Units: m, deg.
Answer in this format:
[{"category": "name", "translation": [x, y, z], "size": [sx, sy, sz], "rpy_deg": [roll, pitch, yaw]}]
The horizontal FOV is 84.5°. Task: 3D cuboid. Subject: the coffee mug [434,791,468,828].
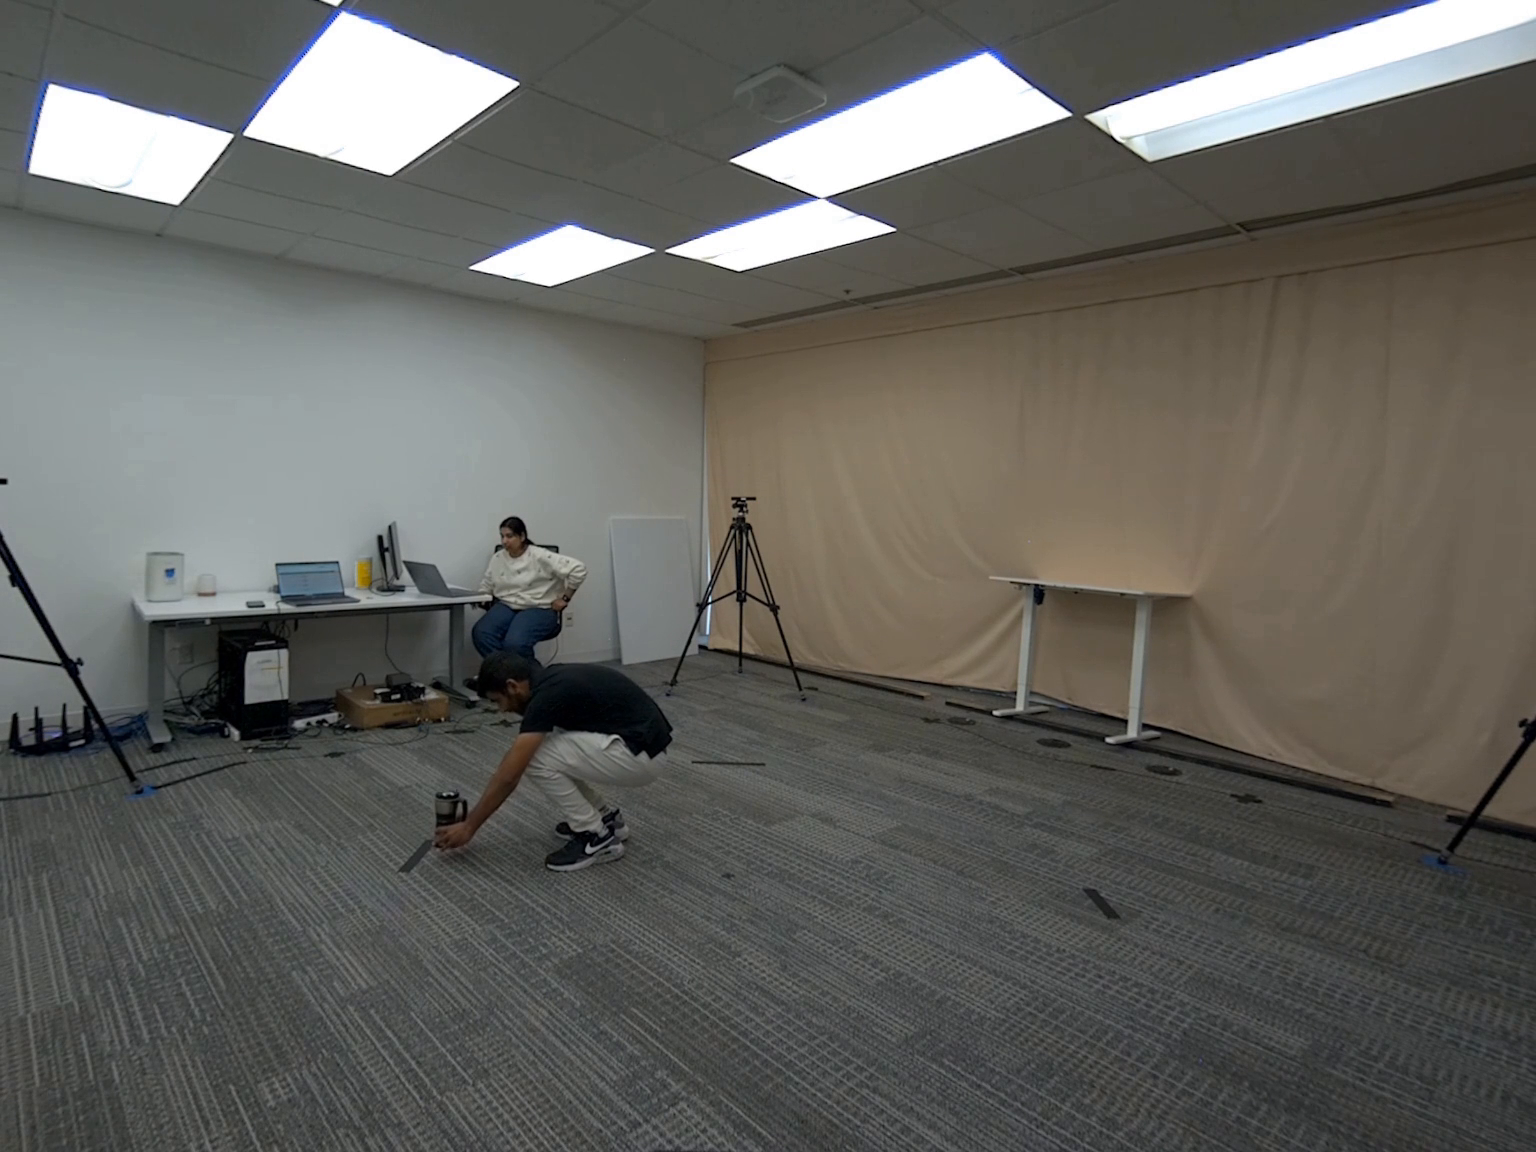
[{"category": "coffee mug", "translation": [-1.205, 0.917, 3.182], "size": [0.123, 0.203, 0.087], "rpy_deg": [1, 0, 8]}]
